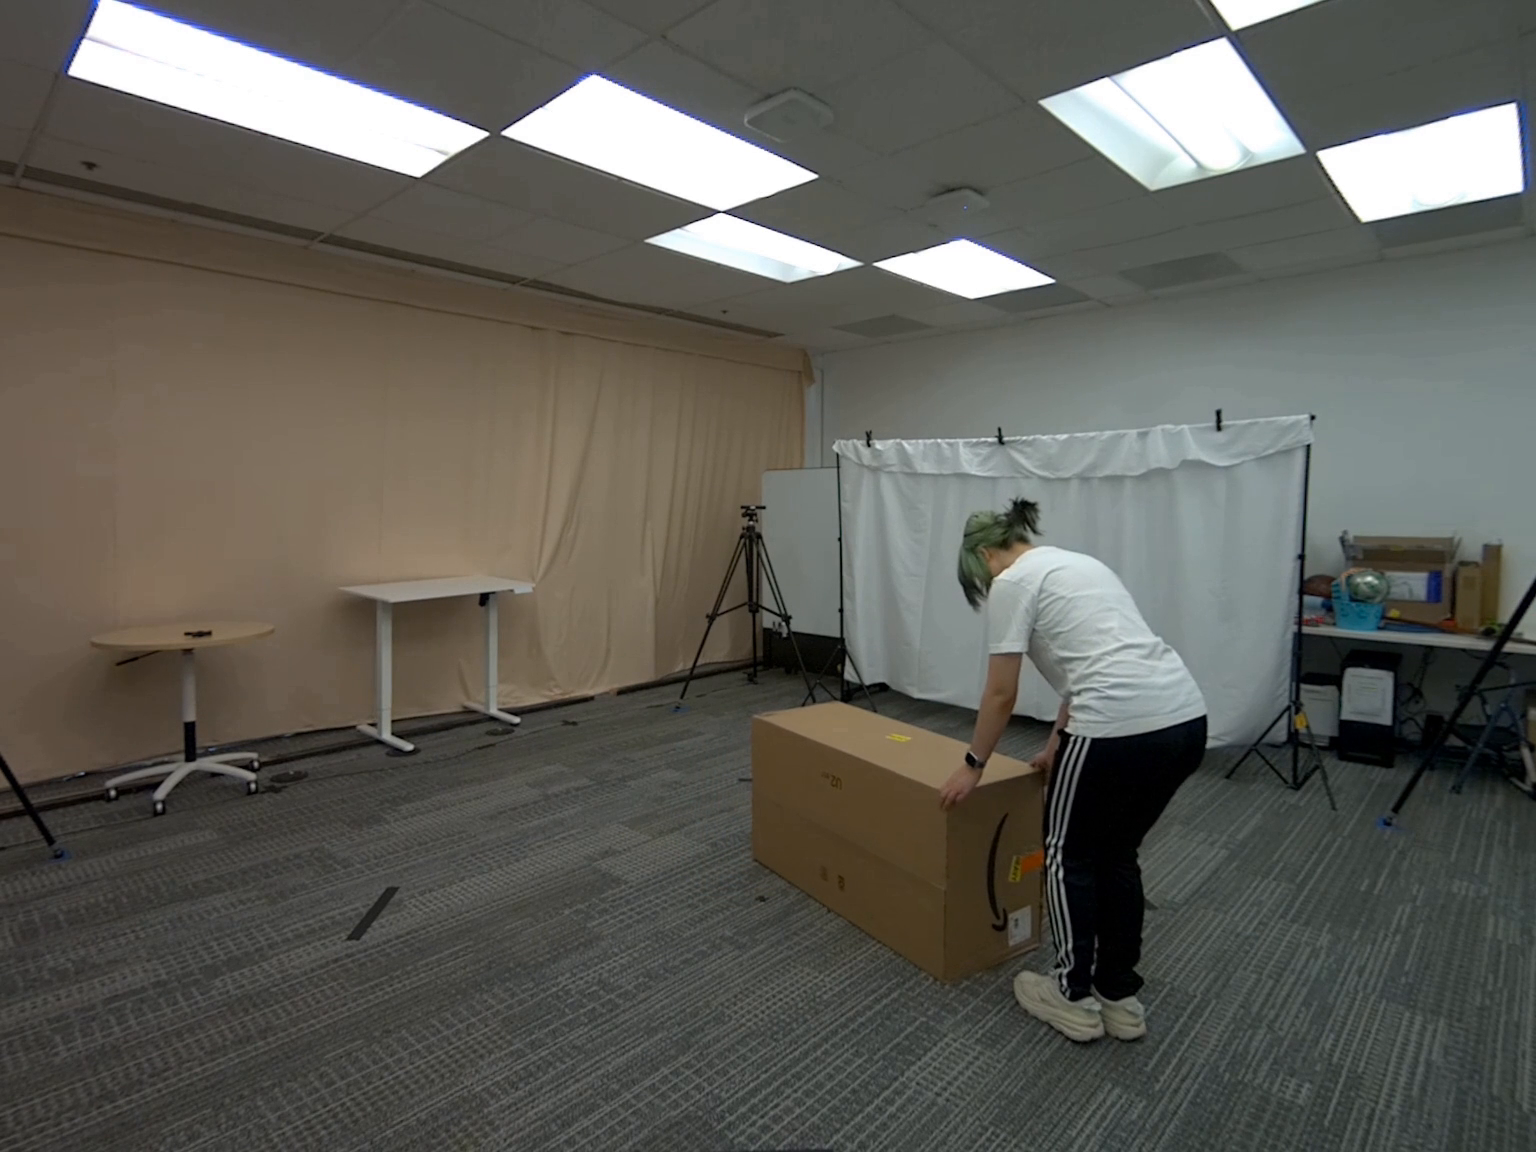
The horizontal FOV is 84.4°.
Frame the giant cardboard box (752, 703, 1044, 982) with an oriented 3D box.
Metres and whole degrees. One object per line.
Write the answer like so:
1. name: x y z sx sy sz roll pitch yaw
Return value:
1. giant cardboard box: 0.404 0.855 2.964 0.434 0.582 1.059 -1 5 -33
